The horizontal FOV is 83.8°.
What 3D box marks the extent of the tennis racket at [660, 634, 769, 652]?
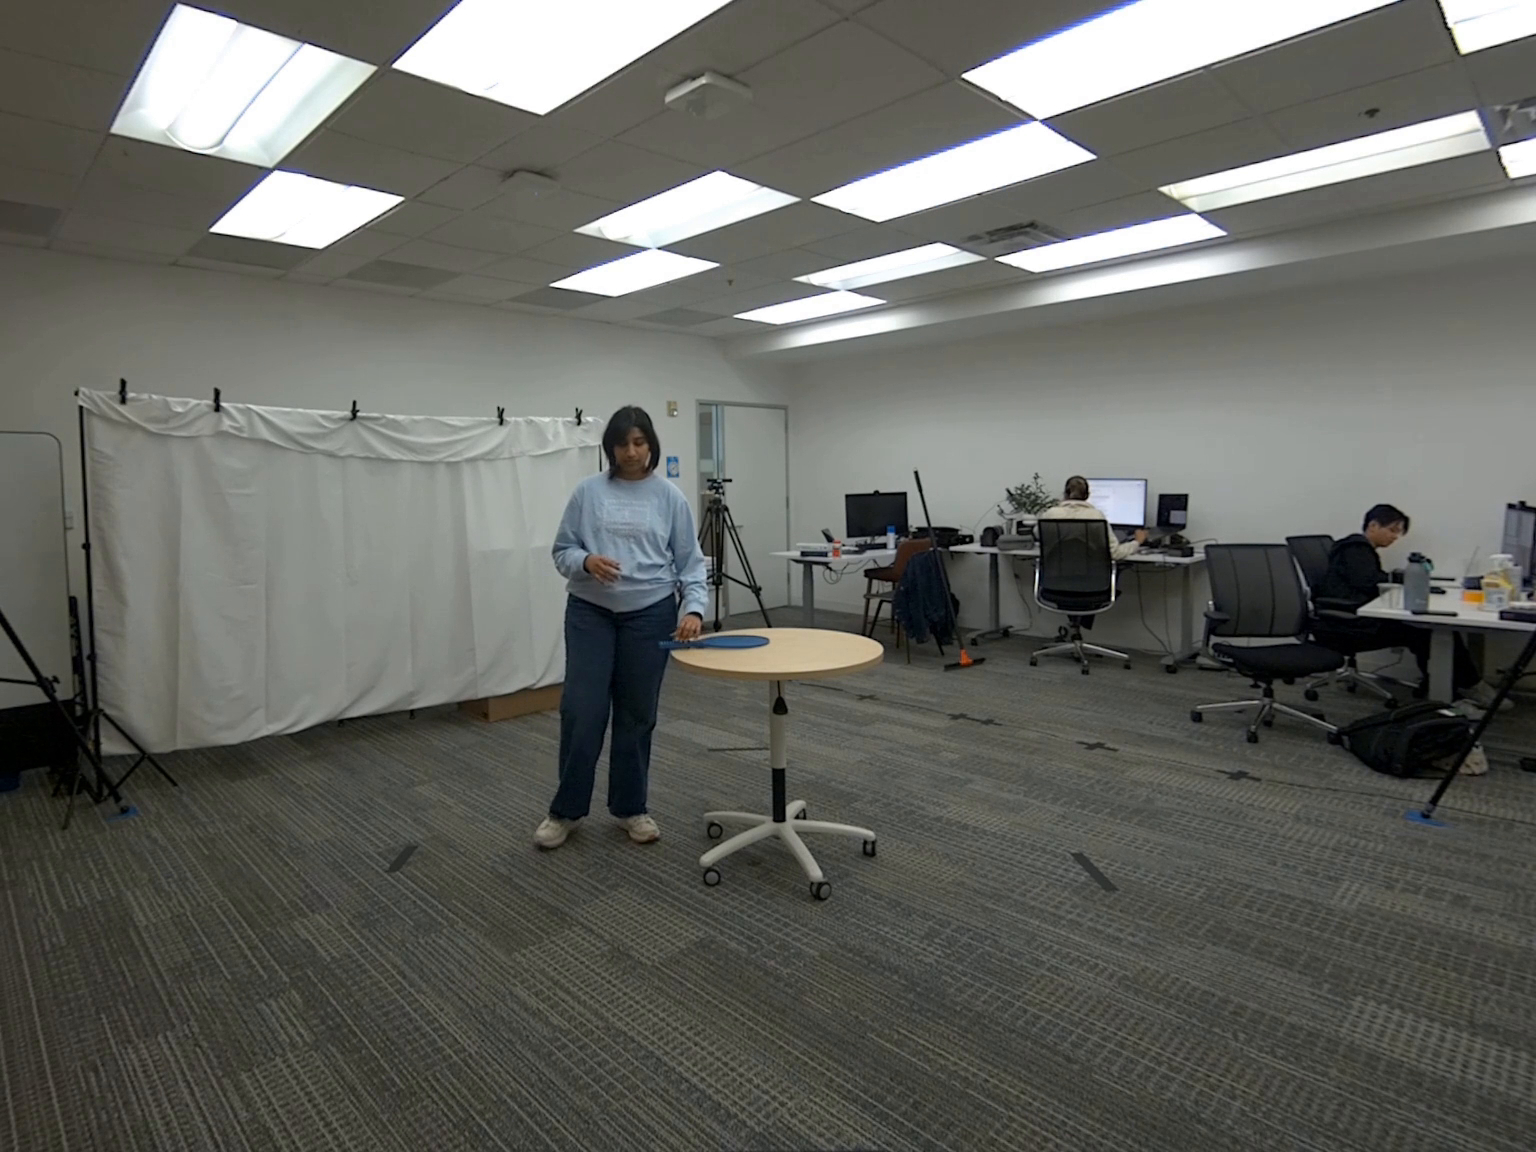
[{"bbox_3d":[-0.204,0.245,3.170,0.425,0.031,0.219,-1,7,-21],"label":"tennis racket"}]
